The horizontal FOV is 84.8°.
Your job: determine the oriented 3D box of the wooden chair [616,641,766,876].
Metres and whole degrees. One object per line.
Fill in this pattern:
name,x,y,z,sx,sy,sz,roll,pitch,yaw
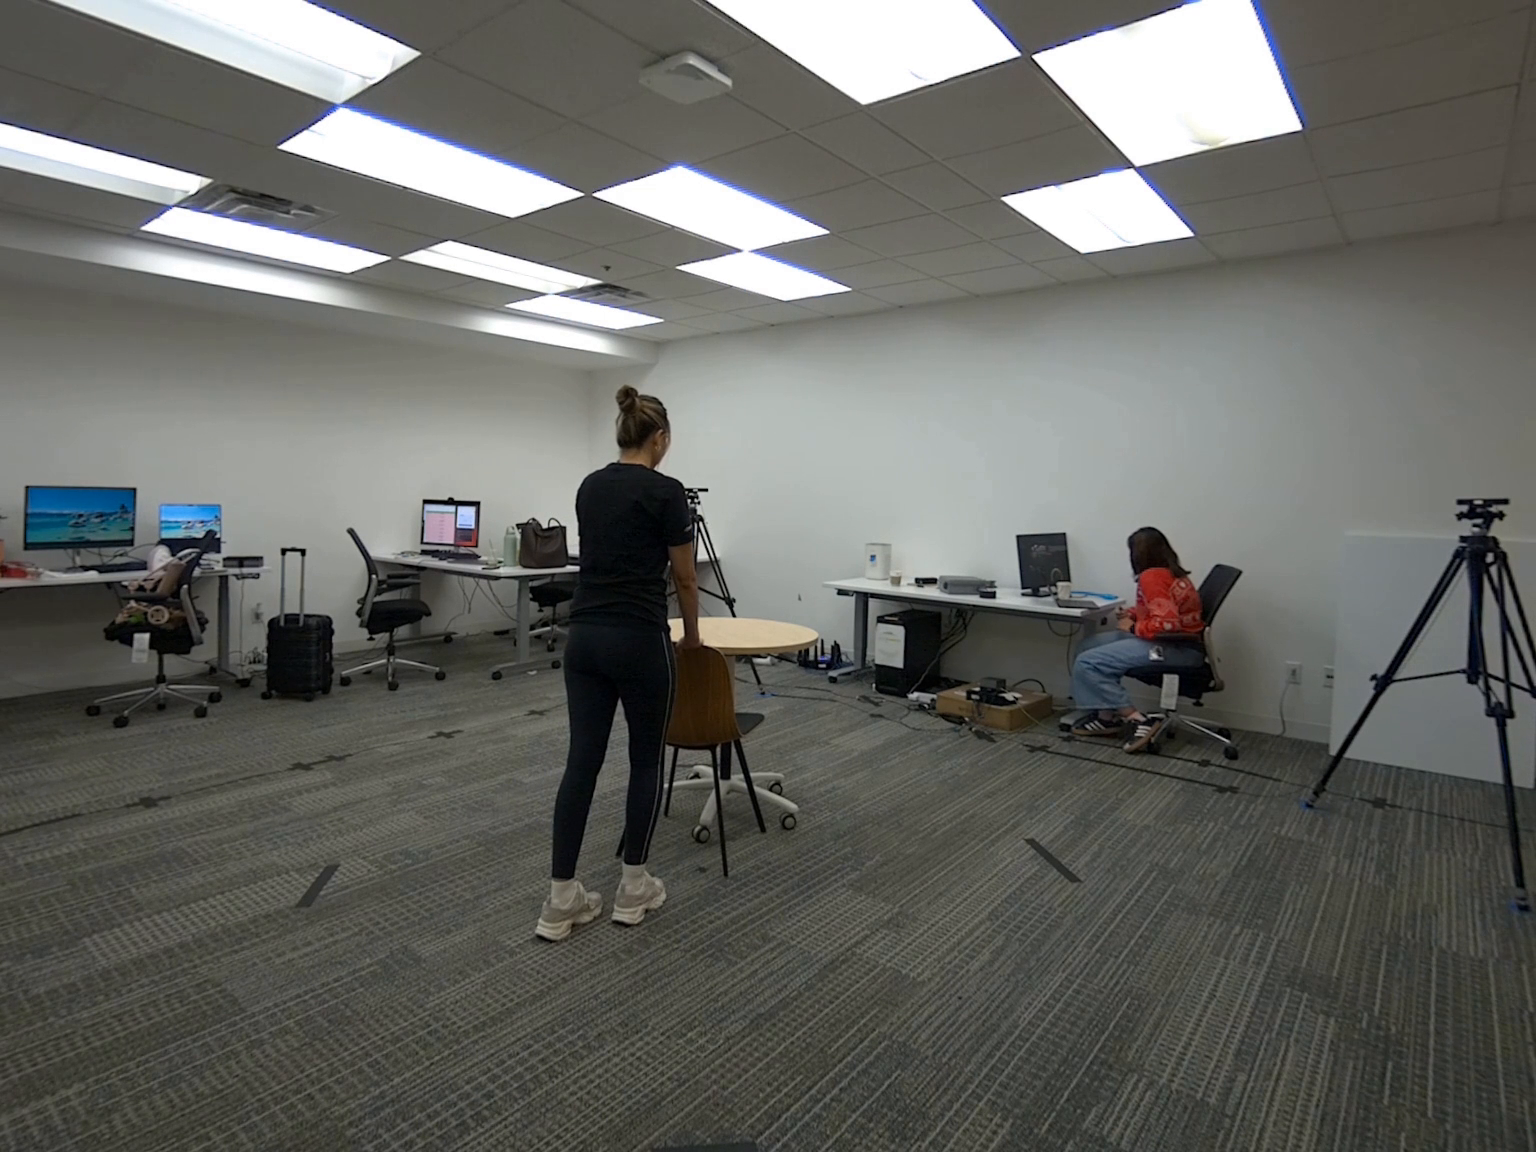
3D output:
wooden chair,-0.289,0.619,3.313,0.488,0.872,0.515,2,7,20
